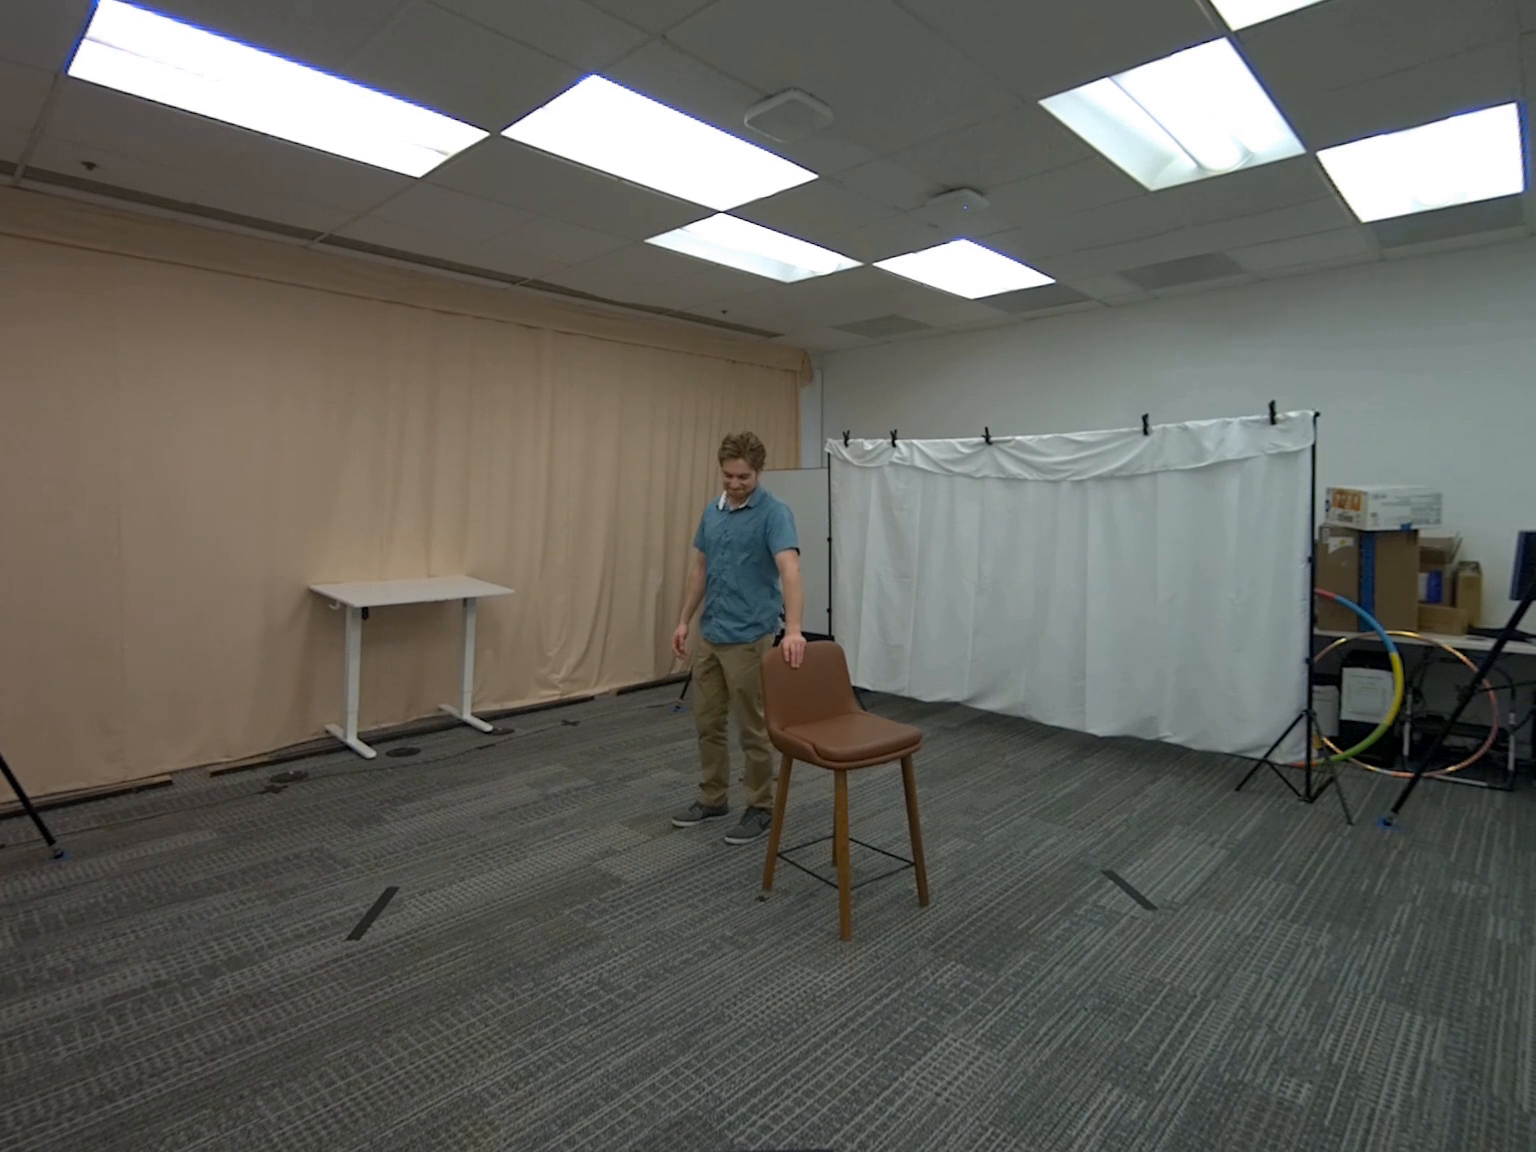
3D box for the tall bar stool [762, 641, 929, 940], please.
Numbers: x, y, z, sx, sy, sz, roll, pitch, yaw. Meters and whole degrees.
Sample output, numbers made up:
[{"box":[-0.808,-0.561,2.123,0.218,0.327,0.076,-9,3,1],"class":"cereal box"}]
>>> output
[{"box":[0.261,0.706,2.974,0.443,0.889,0.482,-3,2,-37],"class":"tall bar stool"}]
